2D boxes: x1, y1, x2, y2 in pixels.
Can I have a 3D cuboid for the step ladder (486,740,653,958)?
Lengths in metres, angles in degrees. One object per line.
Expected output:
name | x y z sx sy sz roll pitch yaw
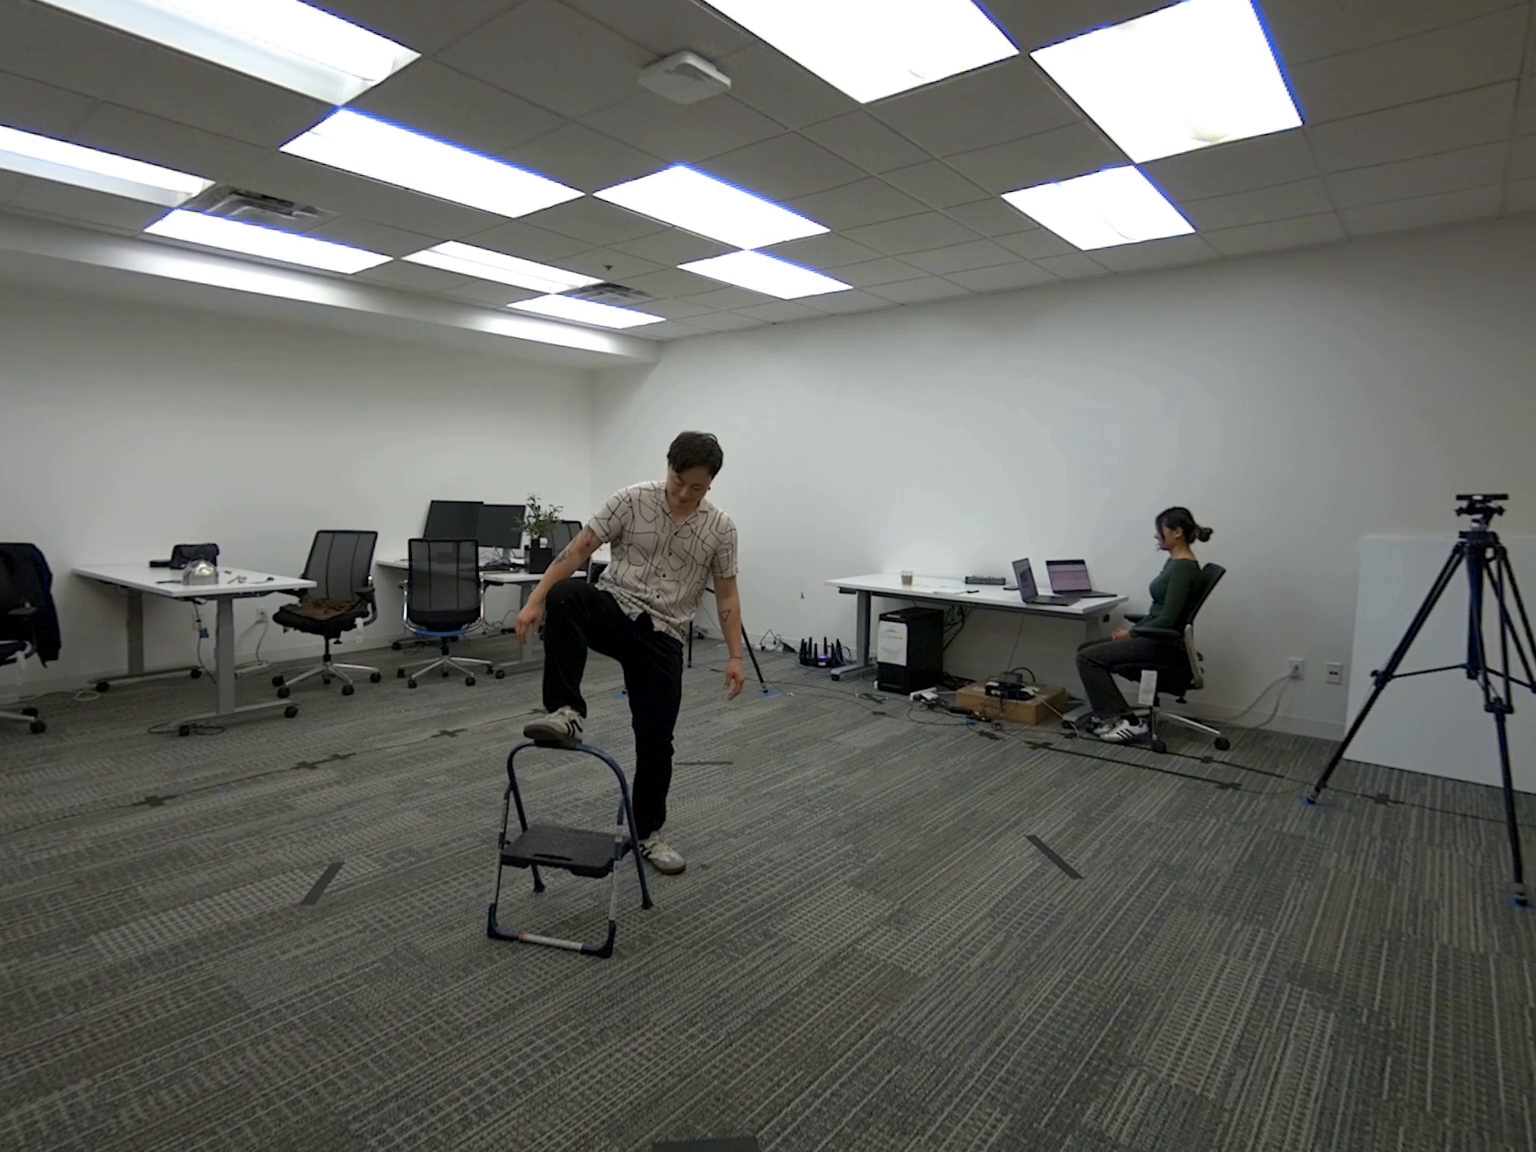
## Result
step ladder | -0.639 0.797 2.691 0.438 0.604 0.345 1 5 14
